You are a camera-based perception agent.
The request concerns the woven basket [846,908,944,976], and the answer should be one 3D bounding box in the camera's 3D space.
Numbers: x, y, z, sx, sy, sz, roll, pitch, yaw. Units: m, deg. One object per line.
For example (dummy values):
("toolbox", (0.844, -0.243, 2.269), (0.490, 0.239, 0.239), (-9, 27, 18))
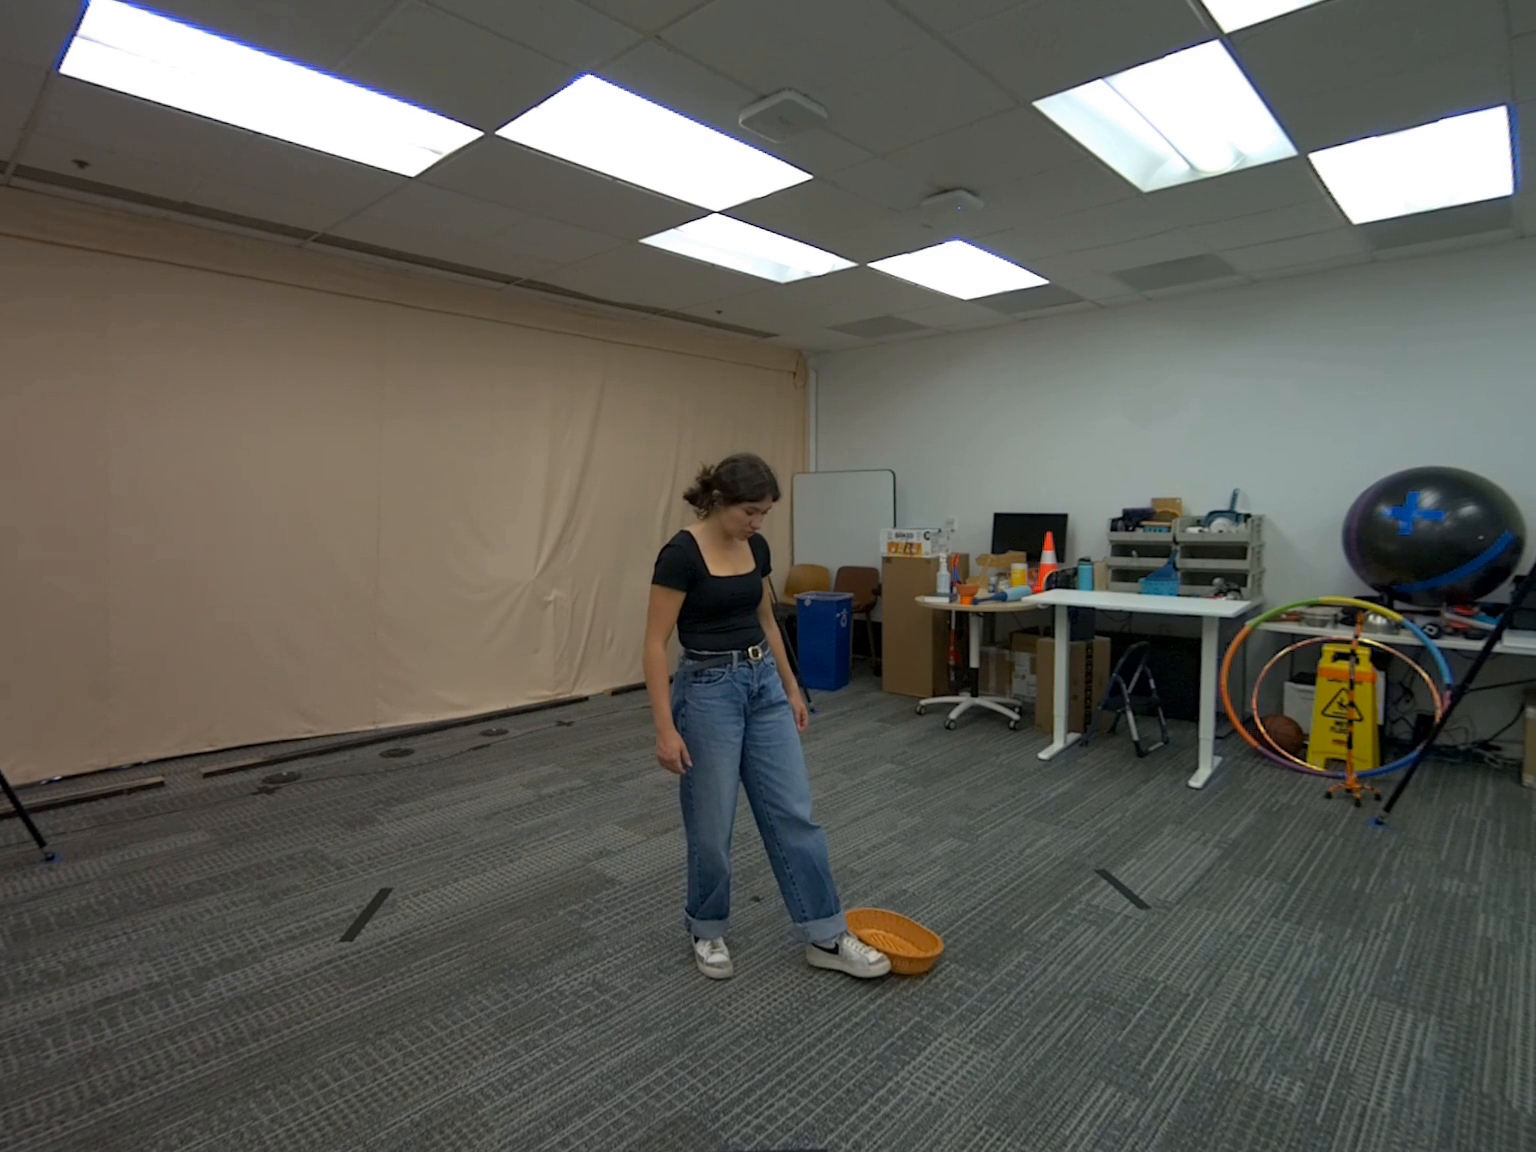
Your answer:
("woven basket", (0.380, 1.133, 2.607), (0.245, 0.073, 0.361), (3, 1, -34))
